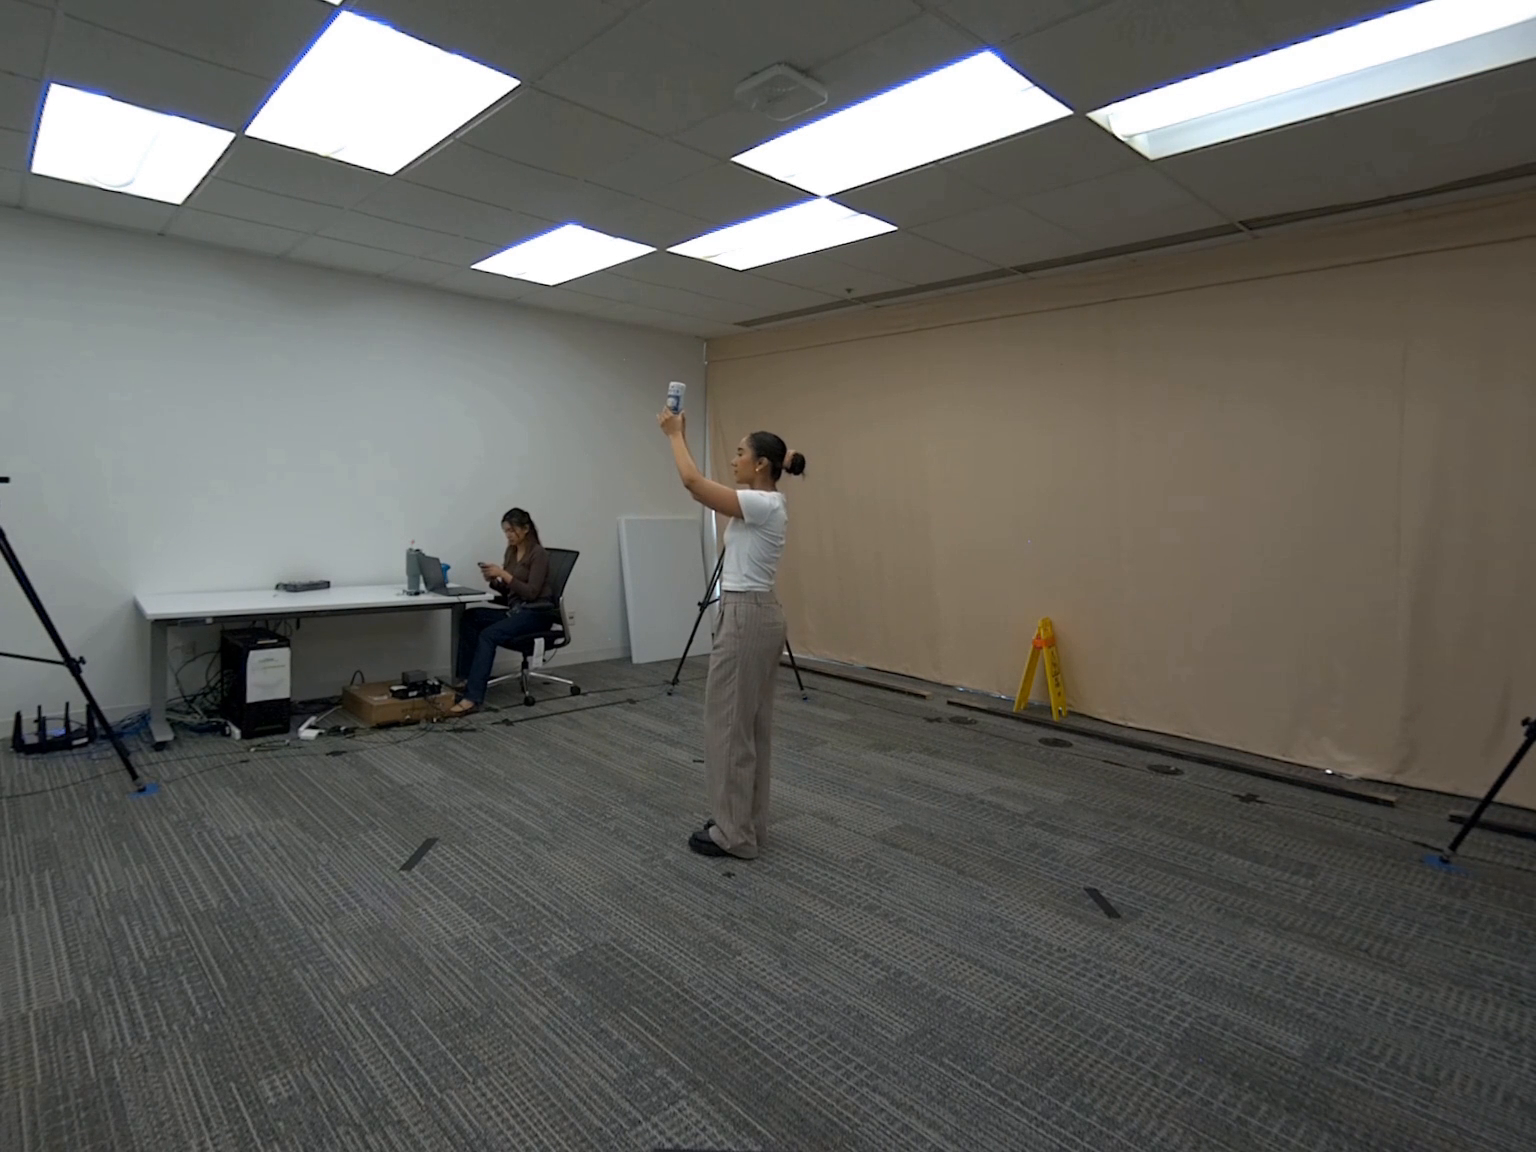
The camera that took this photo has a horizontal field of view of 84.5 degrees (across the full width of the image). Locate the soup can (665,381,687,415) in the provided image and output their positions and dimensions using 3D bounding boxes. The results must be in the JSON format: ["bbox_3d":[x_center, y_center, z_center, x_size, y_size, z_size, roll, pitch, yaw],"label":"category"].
[{"bbox_3d":[-0.381,-0.723,3.406,0.067,0.121,0.067,7,5,-2],"label":"soup can"}]
